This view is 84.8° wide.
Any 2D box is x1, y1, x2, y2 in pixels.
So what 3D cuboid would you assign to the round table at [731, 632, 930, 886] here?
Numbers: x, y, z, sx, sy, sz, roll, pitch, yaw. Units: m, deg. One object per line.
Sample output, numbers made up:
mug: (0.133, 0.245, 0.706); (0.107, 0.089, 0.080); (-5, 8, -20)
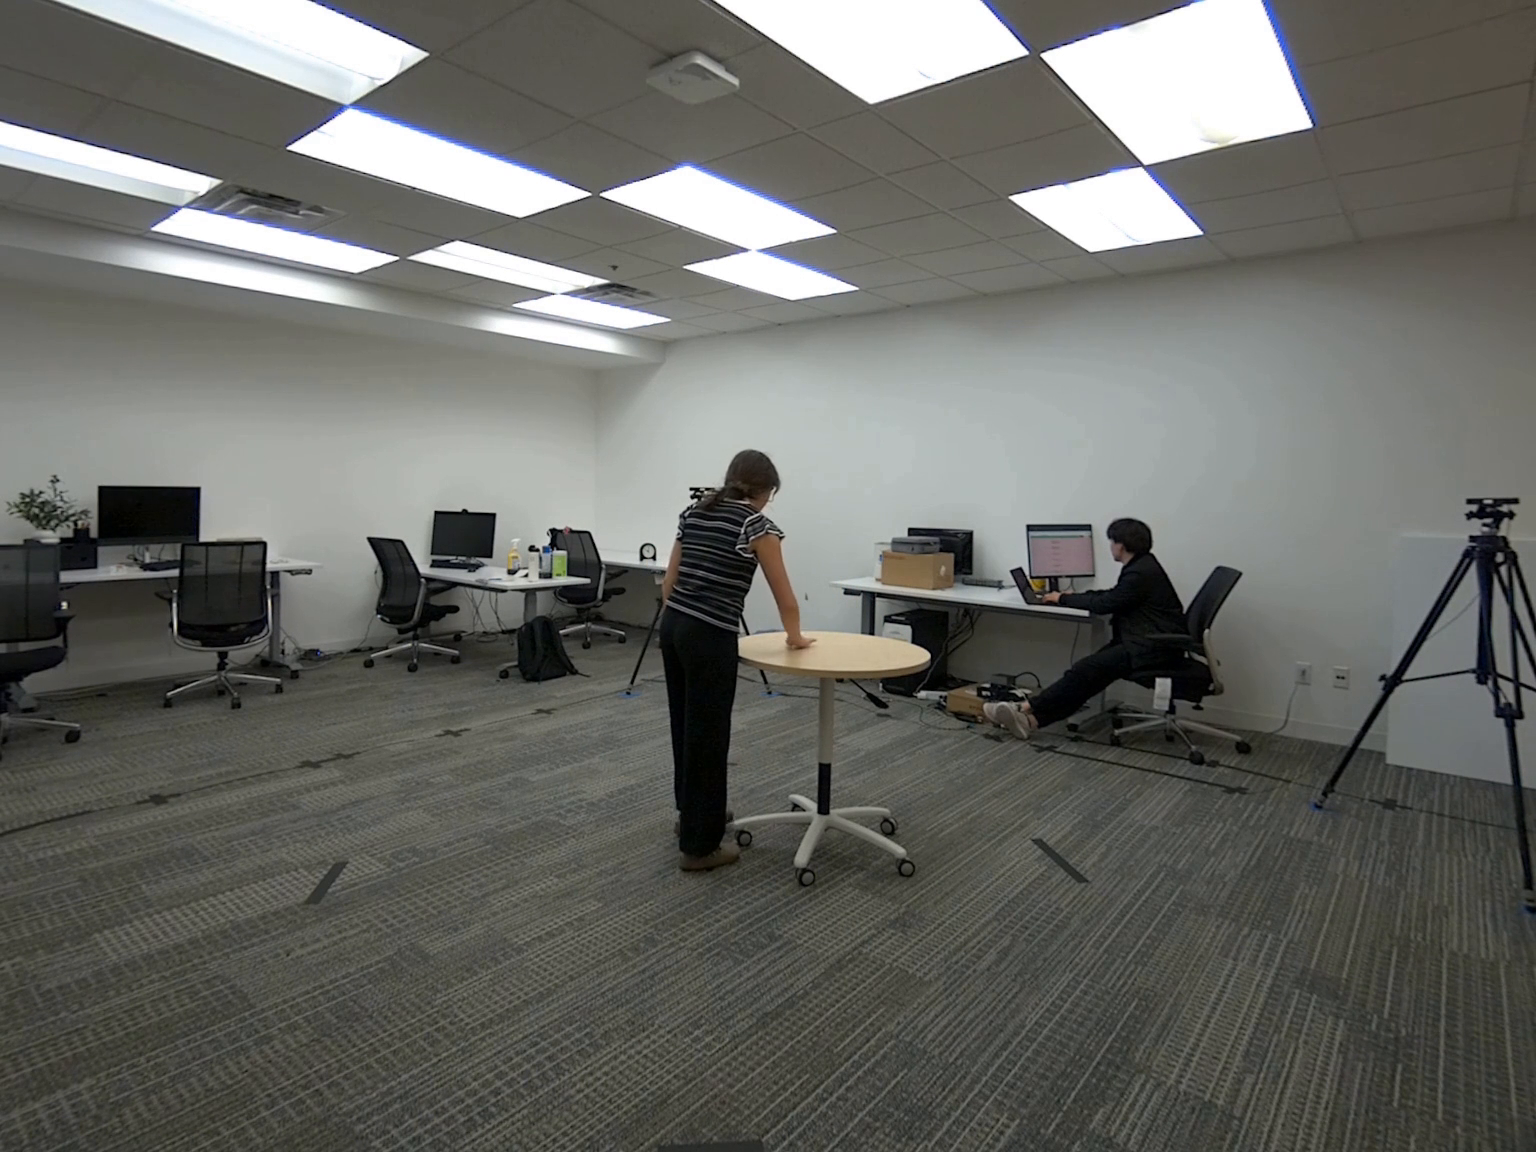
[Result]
round table: (0.217, 0.672, 3.292); (0.763, 0.791, 0.768); (1, 5, -2)
